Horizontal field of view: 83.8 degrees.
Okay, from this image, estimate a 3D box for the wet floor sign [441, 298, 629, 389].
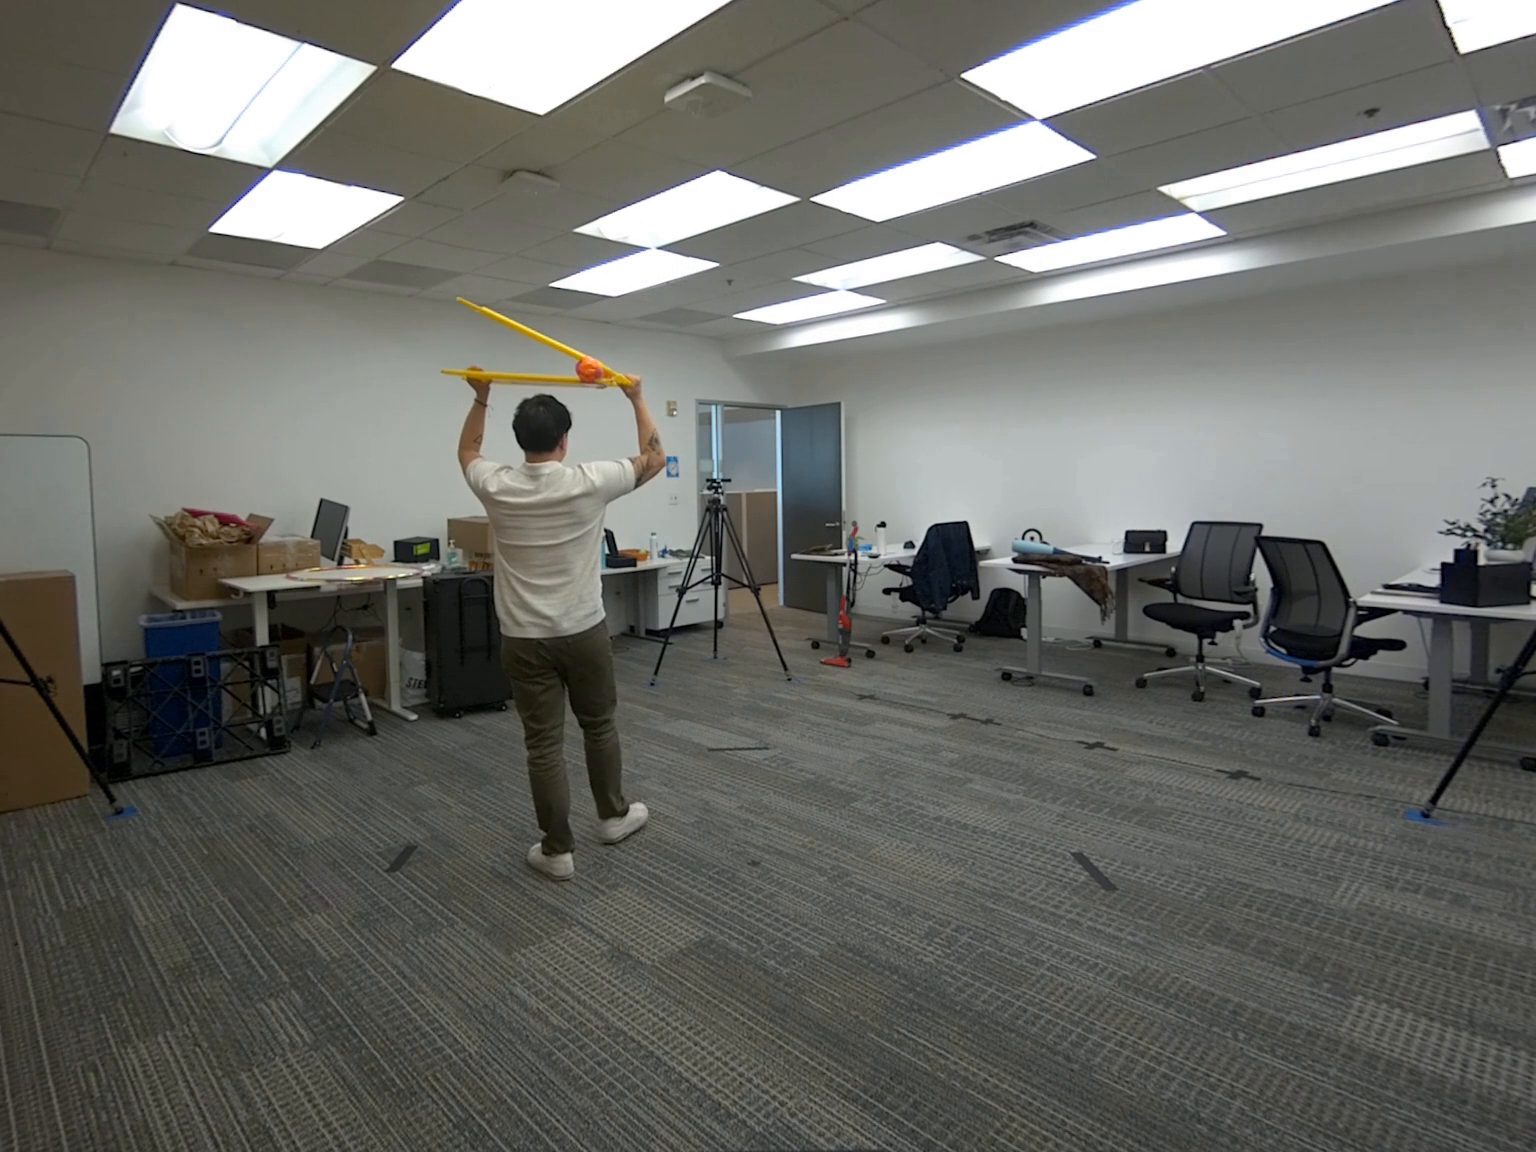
[{"bbox_3d":[-0.810,-0.781,3.112,0.646,0.289,0.283,14,5,0],"label":"wet floor sign"}]
